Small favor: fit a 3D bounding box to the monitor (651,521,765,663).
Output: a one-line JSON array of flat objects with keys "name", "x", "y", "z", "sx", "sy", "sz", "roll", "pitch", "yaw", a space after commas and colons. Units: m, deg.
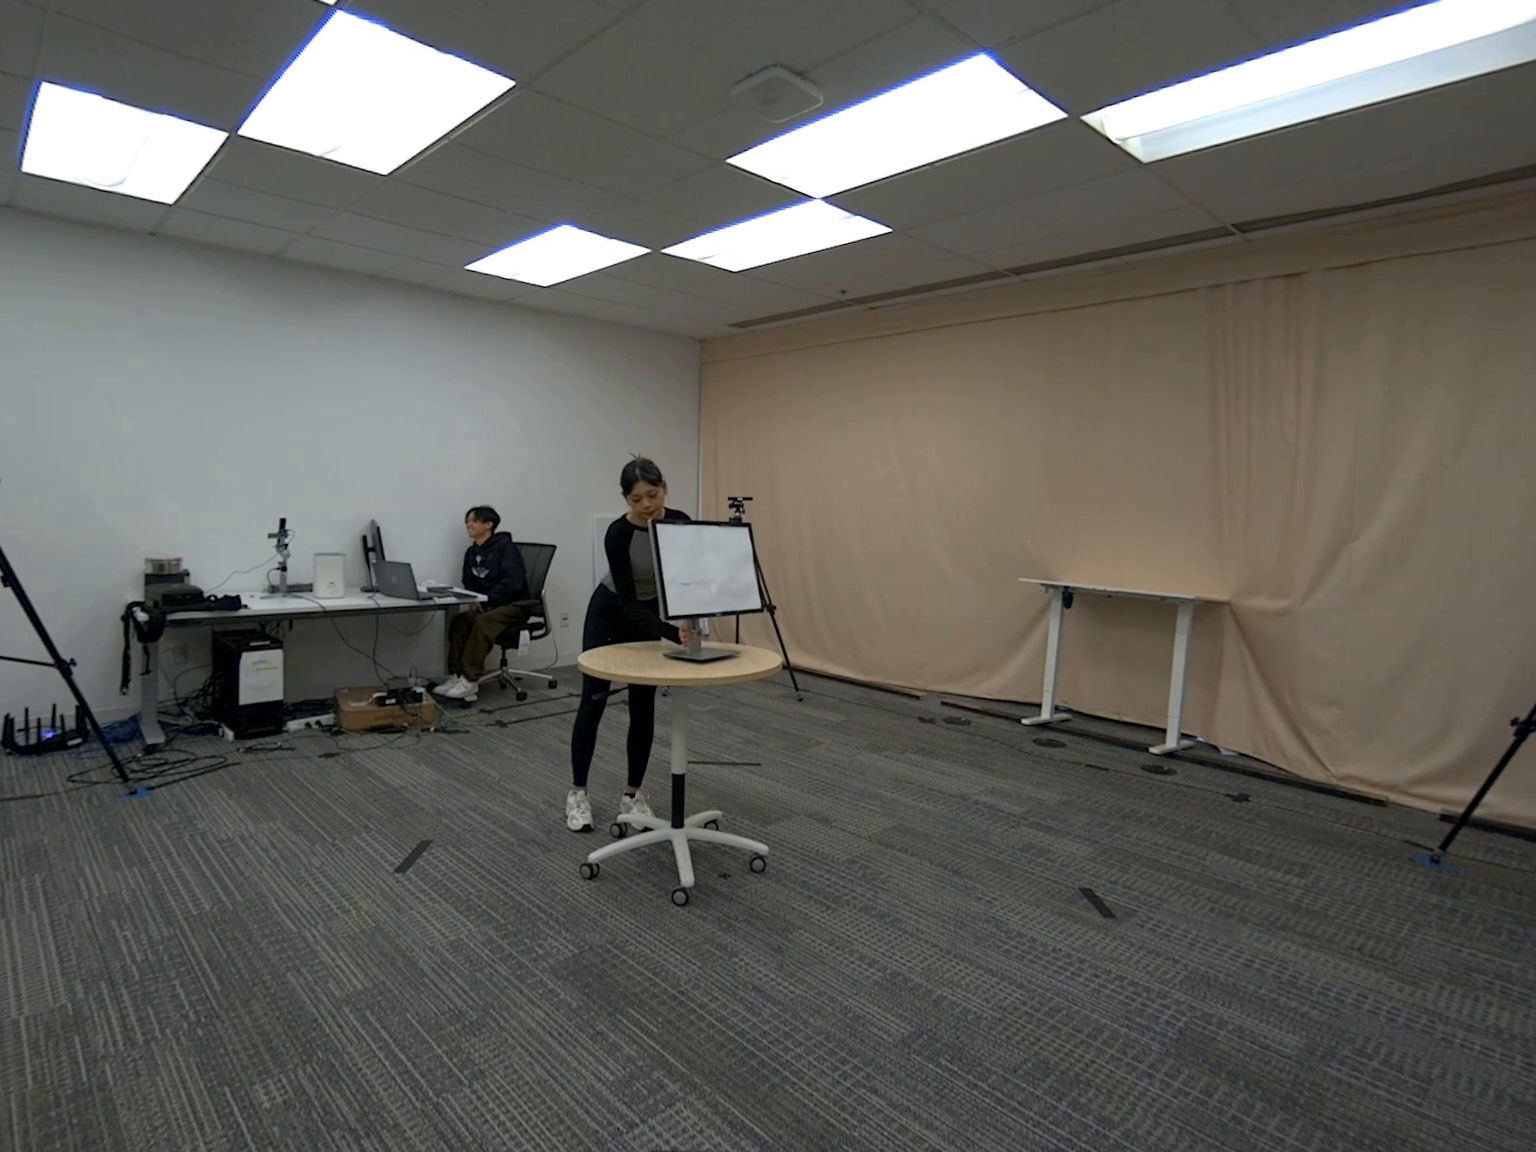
[{"name": "monitor", "x": -0.261, "y": 0.054, "z": 3.172, "sx": 0.191, "sy": 0.522, "sz": 0.527, "roll": 4, "pitch": 3, "yaw": 36}]
